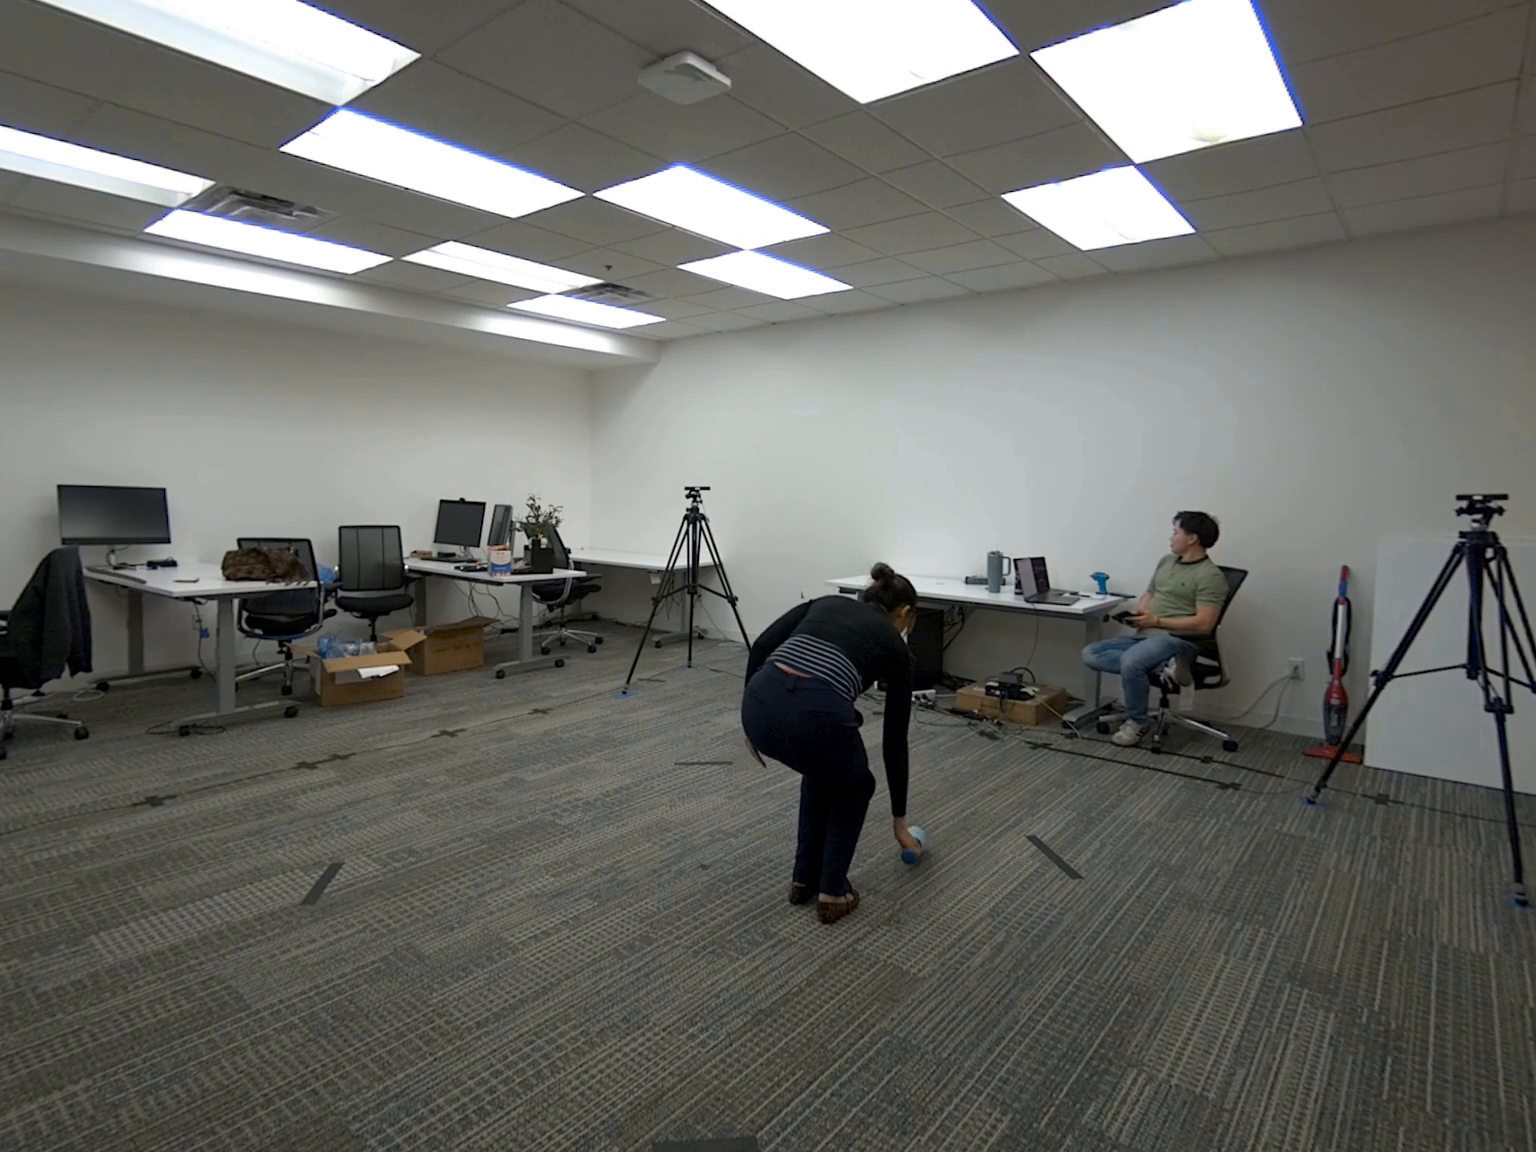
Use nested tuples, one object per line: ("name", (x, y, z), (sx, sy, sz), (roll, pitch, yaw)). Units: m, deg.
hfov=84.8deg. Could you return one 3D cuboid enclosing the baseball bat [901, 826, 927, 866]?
("baseball bat", (0.523, 0.968, 3.072), (0.090, 0.089, 0.533), (2, -6, 9))
